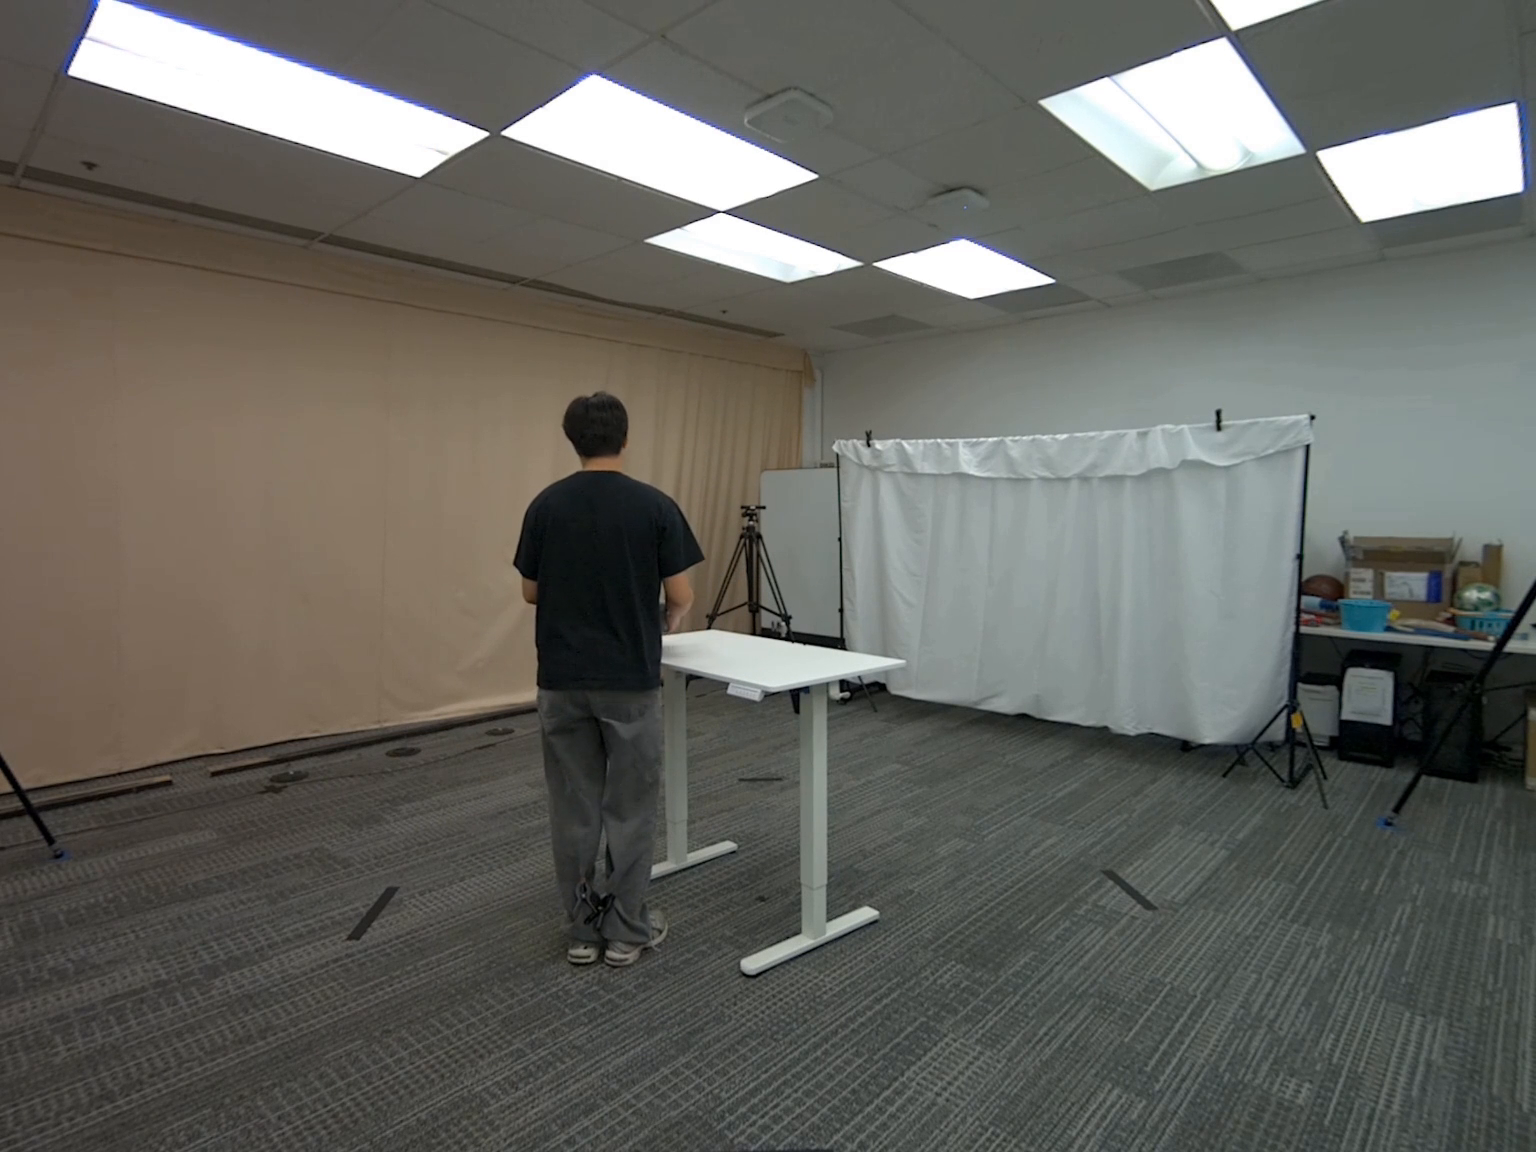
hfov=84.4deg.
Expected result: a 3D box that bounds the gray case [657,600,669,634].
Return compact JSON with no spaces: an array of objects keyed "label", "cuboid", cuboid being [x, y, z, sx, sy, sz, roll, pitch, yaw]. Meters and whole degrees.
[{"label":"gray case","cuboid":[-0.472,0.136,2.959,0.263,0.103,0.287,-1,-1,-3]}]
